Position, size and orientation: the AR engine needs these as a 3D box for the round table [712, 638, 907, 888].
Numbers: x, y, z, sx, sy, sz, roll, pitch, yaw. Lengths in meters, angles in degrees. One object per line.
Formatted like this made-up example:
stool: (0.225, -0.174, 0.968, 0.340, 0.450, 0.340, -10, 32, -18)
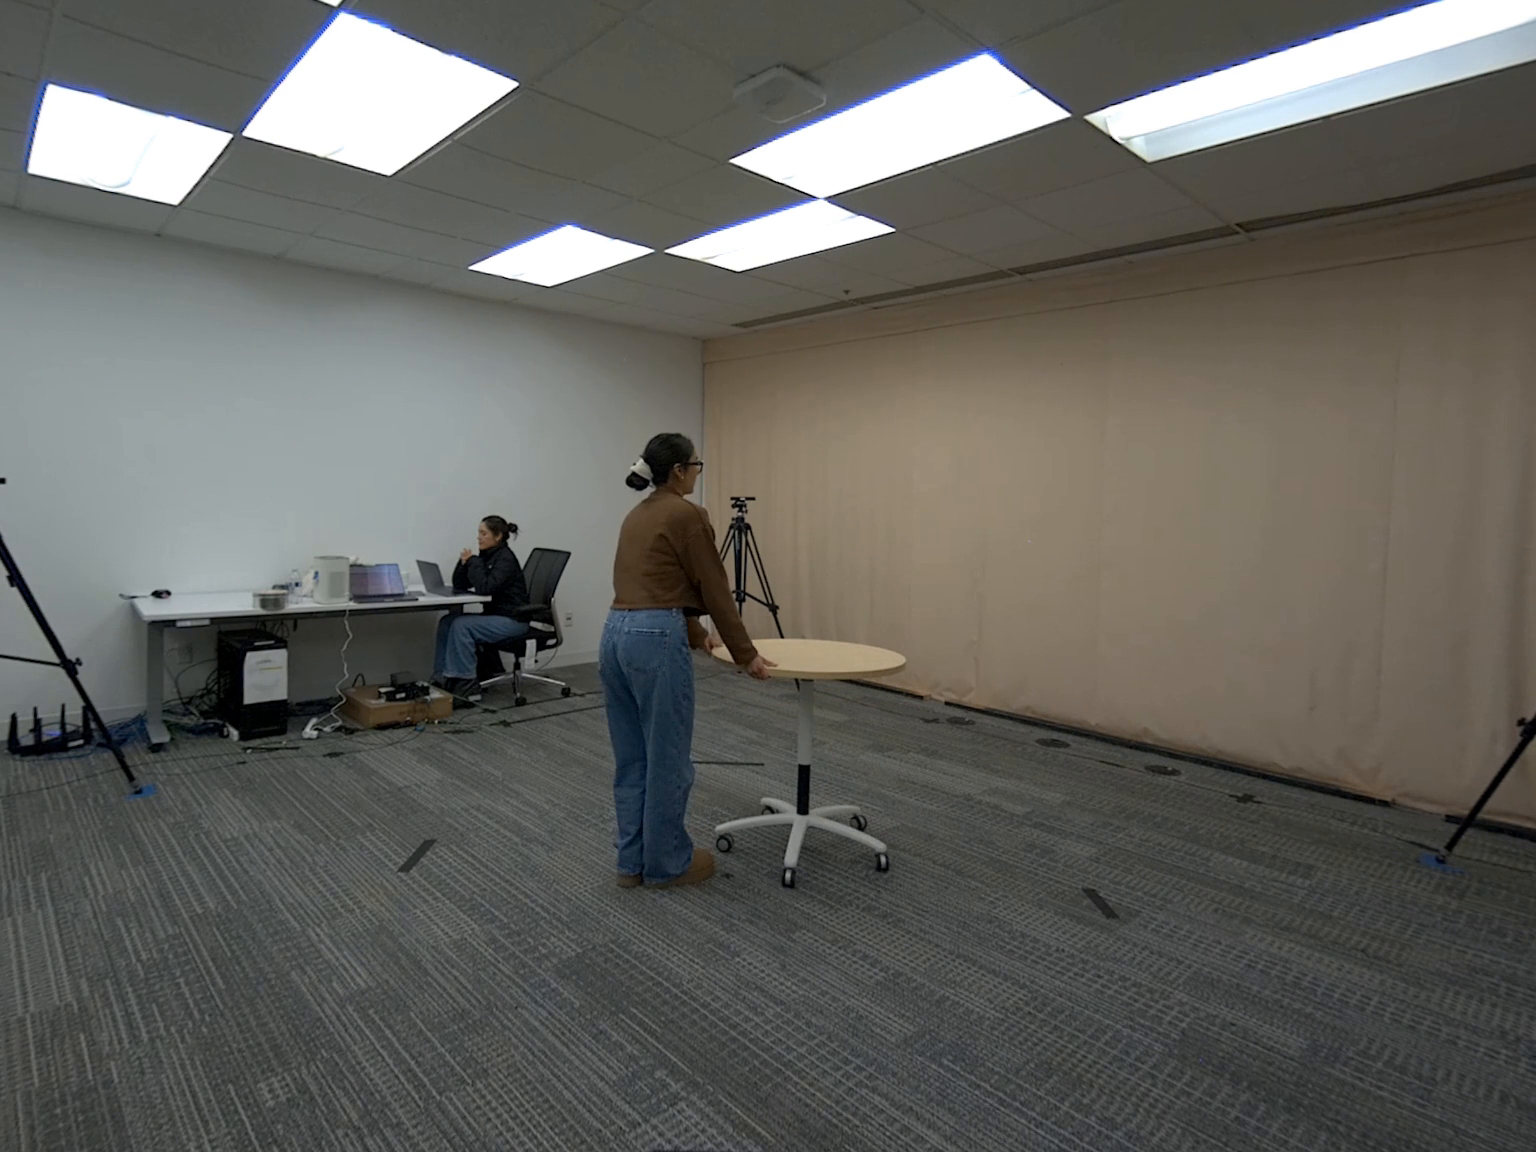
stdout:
round table: (0.133, 0.698, 3.343, 0.784, 0.785, 0.787, 2, 3, -1)
